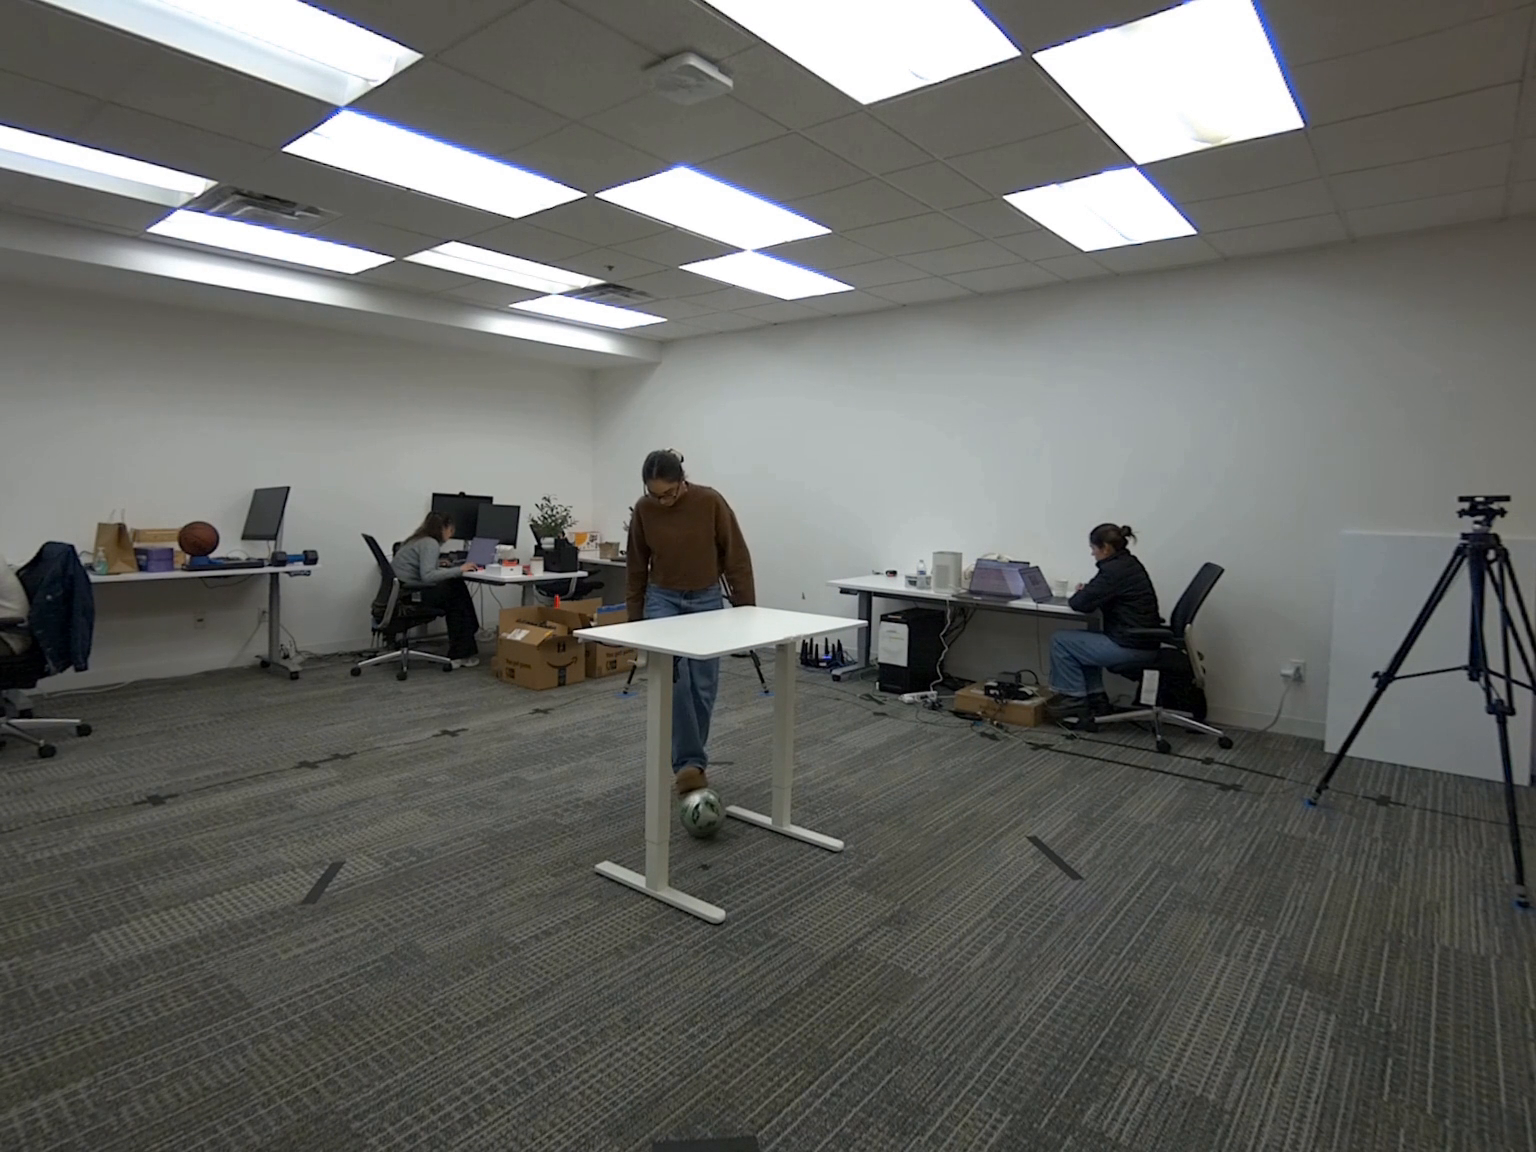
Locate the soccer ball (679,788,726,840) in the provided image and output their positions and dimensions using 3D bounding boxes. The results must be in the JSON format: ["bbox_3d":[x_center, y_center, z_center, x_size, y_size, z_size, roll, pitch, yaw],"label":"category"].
[{"bbox_3d":[-0.272,0.941,3.404,0.187,0.187,0.188,1,4,-2],"label":"soccer ball"}]
